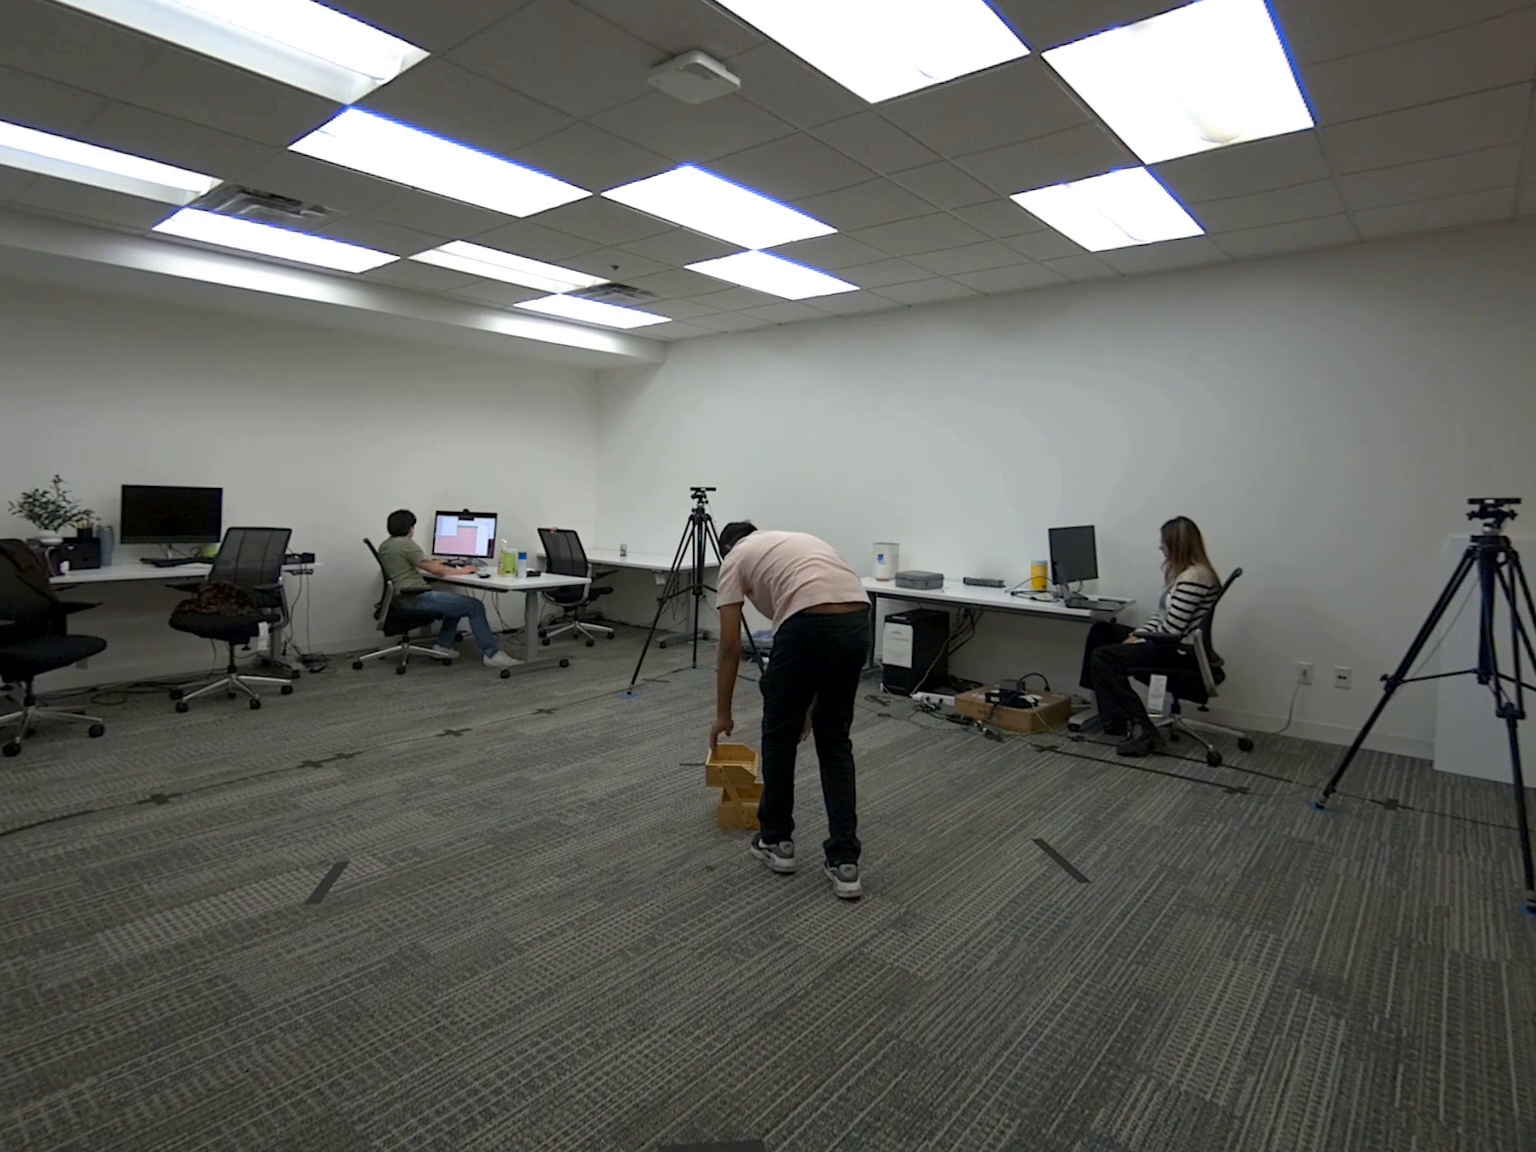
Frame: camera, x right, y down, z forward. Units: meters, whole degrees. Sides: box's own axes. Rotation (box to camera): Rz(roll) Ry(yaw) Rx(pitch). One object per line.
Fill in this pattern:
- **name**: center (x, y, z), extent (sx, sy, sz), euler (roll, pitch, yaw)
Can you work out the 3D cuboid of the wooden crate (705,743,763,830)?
- **wooden crate**: center (-0.113, 0.881, 3.628), extent (0.303, 0.272, 0.325), euler (1, 5, 2)
